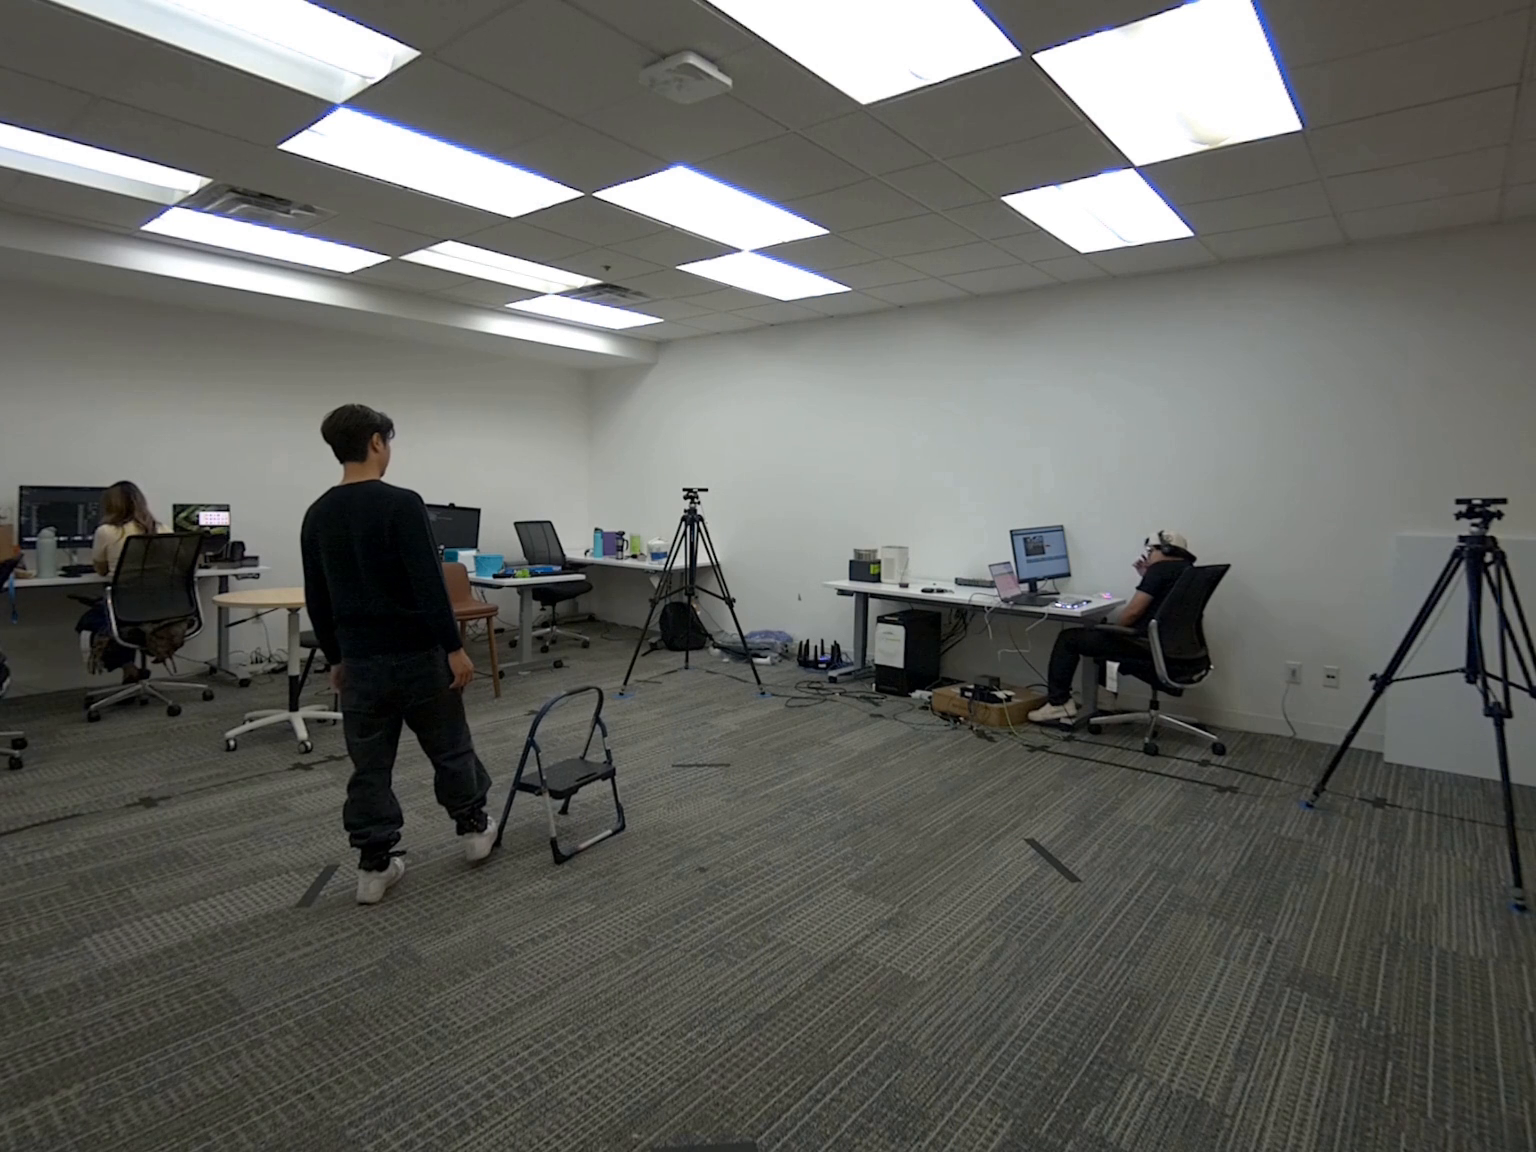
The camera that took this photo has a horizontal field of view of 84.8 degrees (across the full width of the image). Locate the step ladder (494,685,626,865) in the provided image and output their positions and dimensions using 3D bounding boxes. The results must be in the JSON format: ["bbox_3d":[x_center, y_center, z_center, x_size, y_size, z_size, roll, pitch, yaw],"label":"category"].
[{"bbox_3d":[-0.835,0.732,3.364,0.359,0.604,0.420,2,3,28],"label":"step ladder"}]
